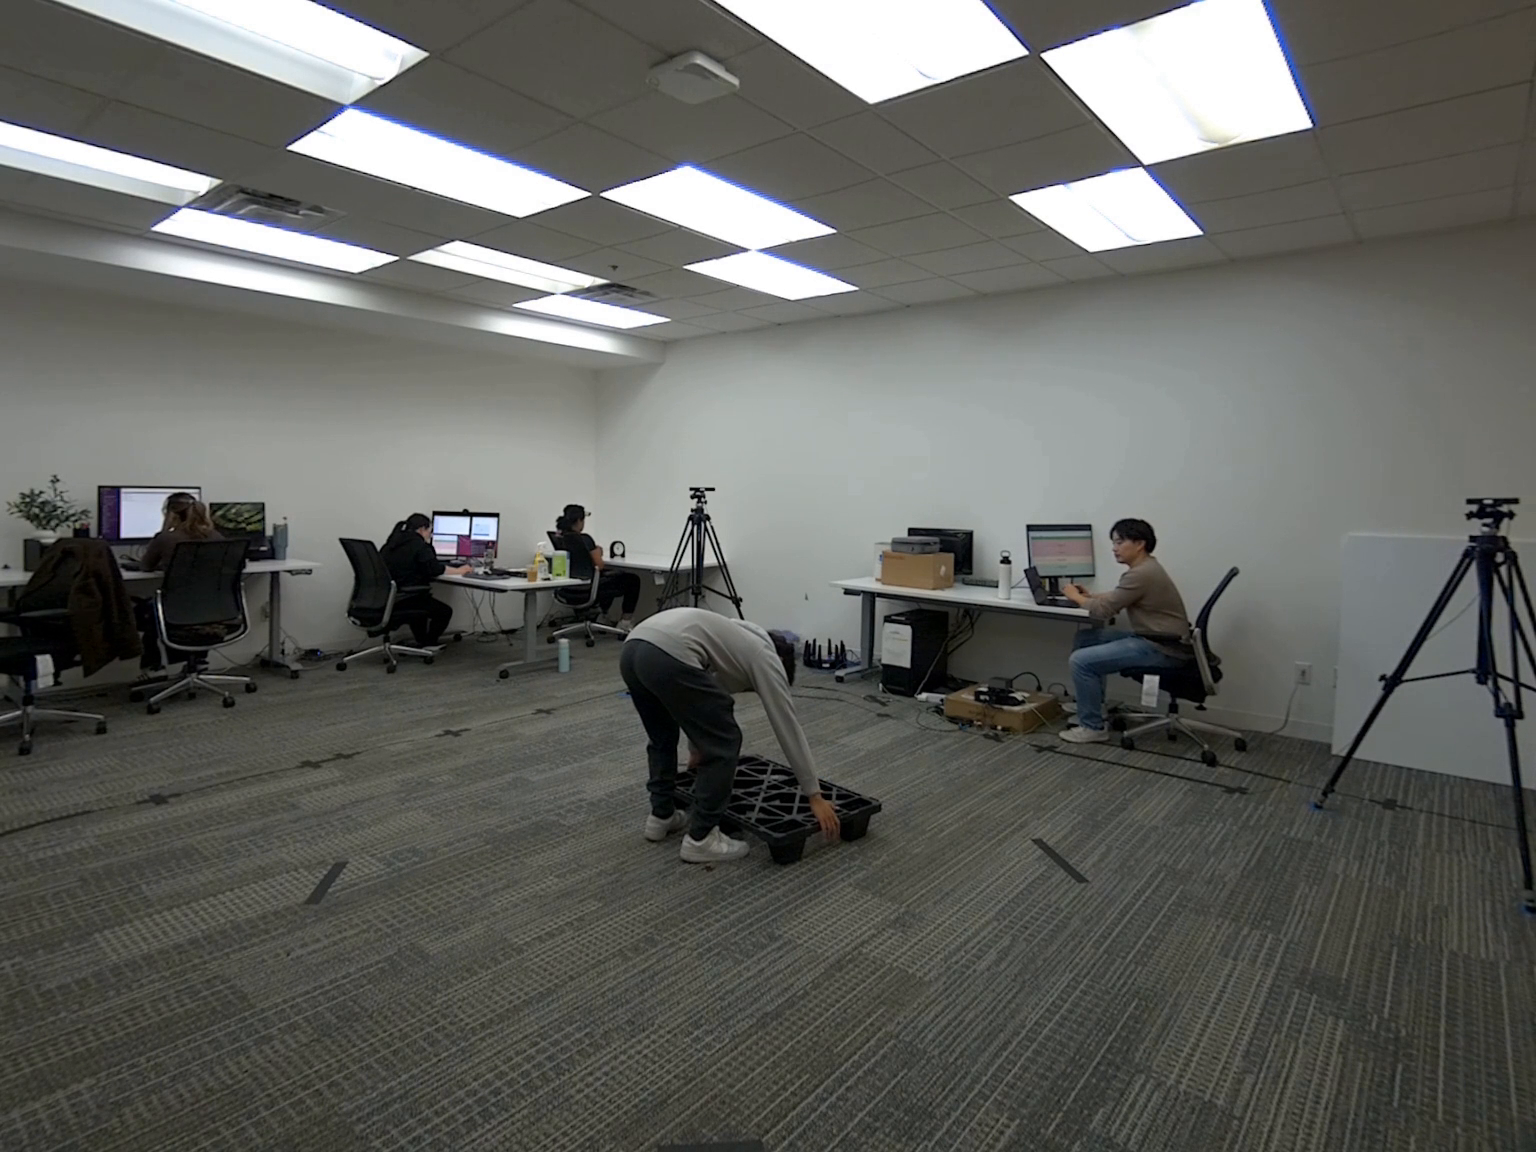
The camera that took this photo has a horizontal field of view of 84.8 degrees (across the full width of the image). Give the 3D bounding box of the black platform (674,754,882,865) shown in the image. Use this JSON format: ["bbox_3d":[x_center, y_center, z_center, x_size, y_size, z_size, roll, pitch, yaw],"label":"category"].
[{"bbox_3d":[-0.027,0.962,3.569,0.587,0.143,0.833,-4,8,-41],"label":"black platform"}]
